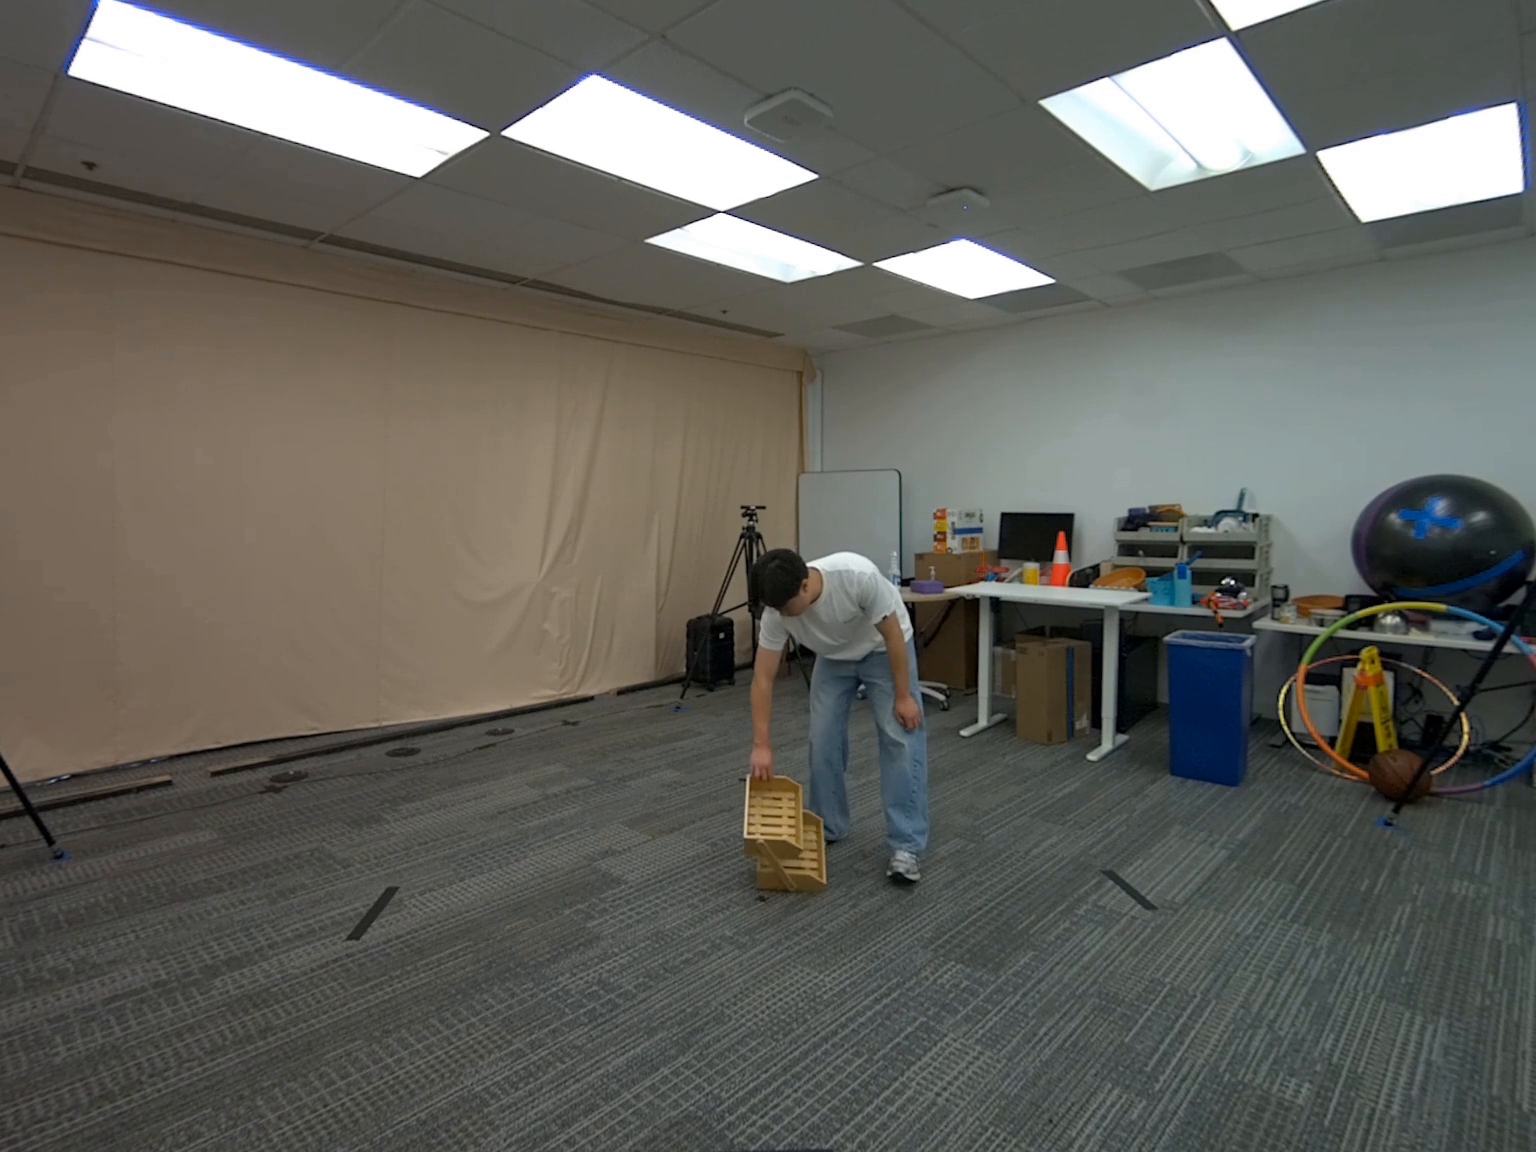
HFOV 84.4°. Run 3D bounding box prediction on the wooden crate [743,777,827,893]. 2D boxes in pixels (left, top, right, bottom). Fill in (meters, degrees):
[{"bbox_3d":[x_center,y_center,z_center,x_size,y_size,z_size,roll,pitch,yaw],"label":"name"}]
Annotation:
[{"bbox_3d":[0.076,0.944,3.101,0.303,0.269,0.328,2,29,3],"label":"wooden crate"}]
